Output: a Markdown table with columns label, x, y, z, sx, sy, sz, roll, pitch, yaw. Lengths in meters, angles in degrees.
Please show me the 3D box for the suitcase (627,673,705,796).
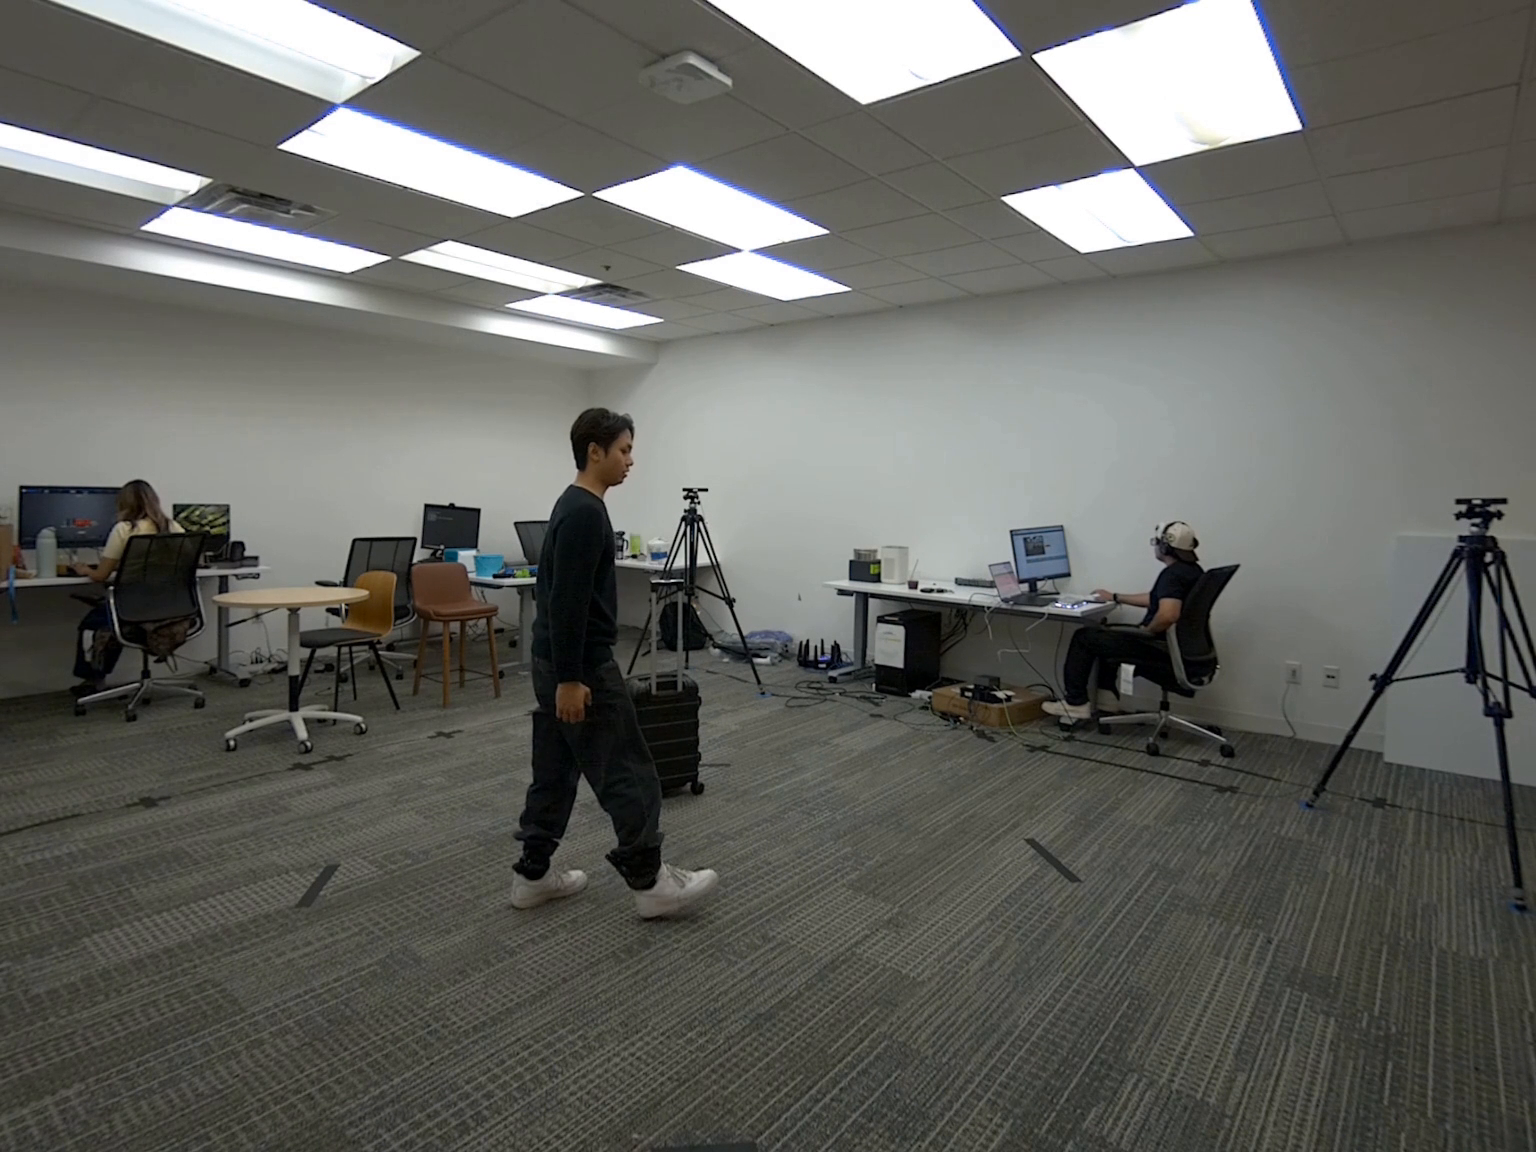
| label | x | y | z | sx | sy | sz | roll | pitch | yaw |
| --- | --- | --- | --- | --- | --- | --- | --- | --- | --- |
| suitcase | -0.523 | 0.512 | 3.883 | 0.374 | 0.976 | 0.264 | -2 | 3 | -29 |
